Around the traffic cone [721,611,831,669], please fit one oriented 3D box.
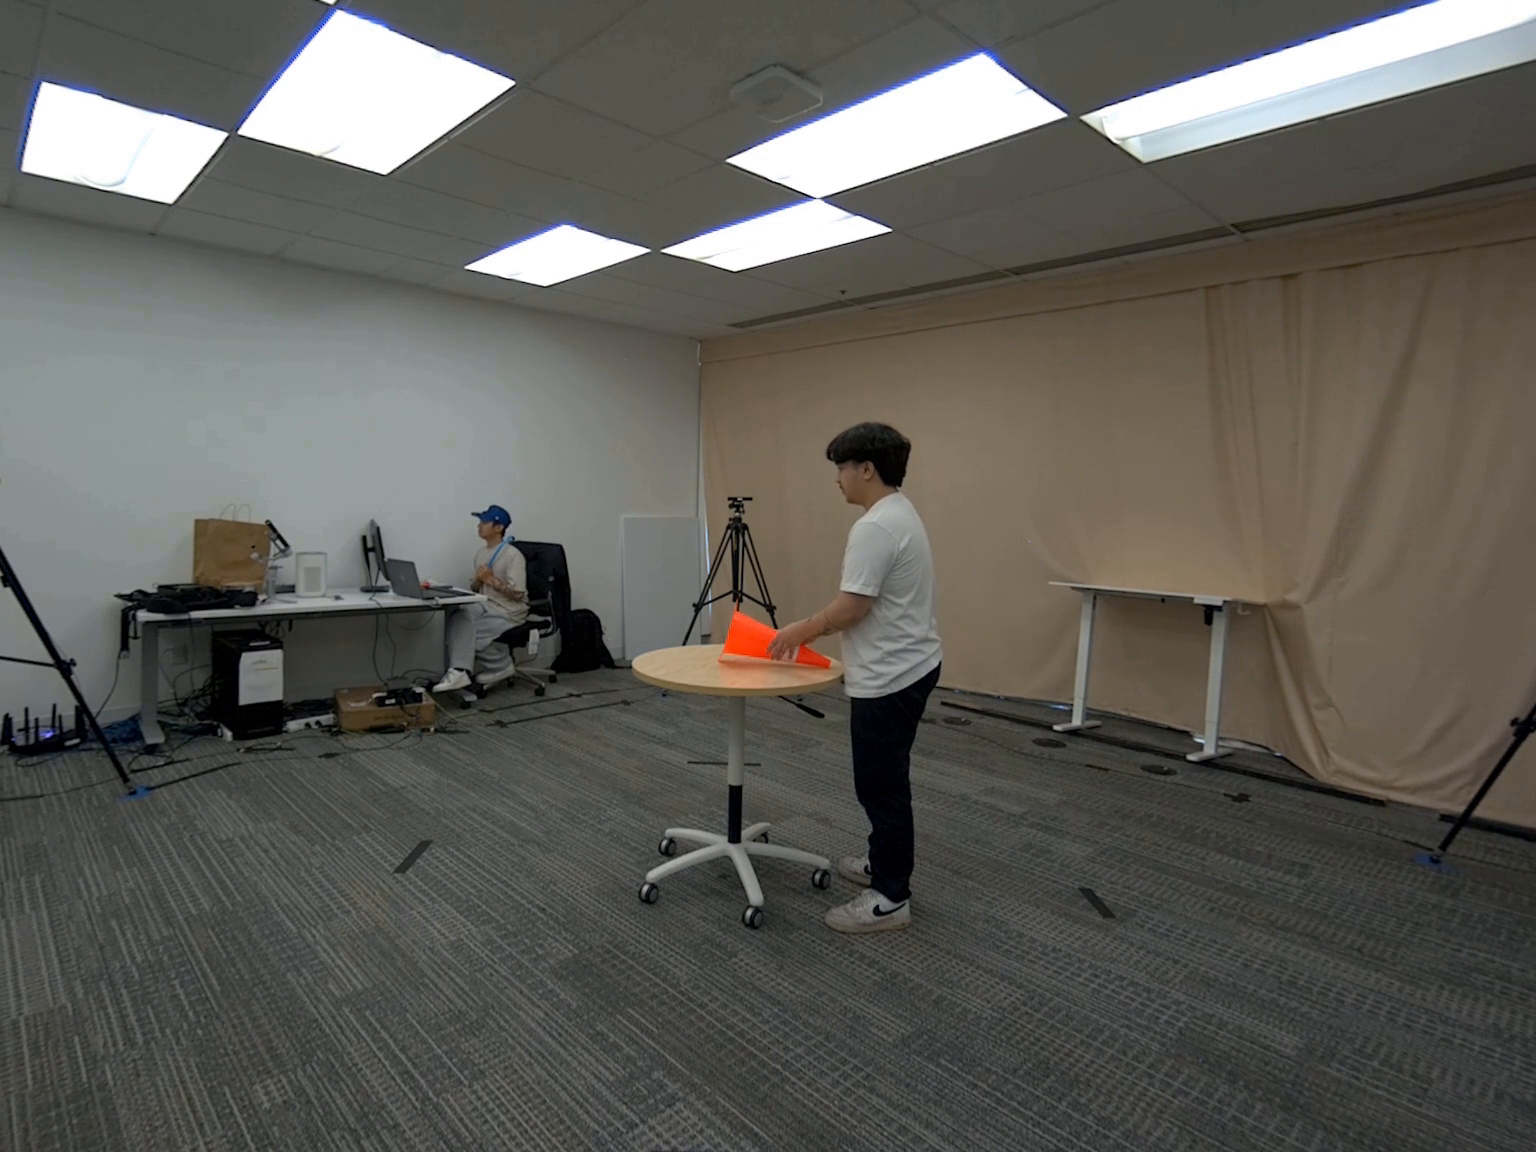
[{"bbox_3d":[0.039,0.261,3.009,0.383,0.207,0.201,15,-21,-1],"label":"traffic cone"}]
